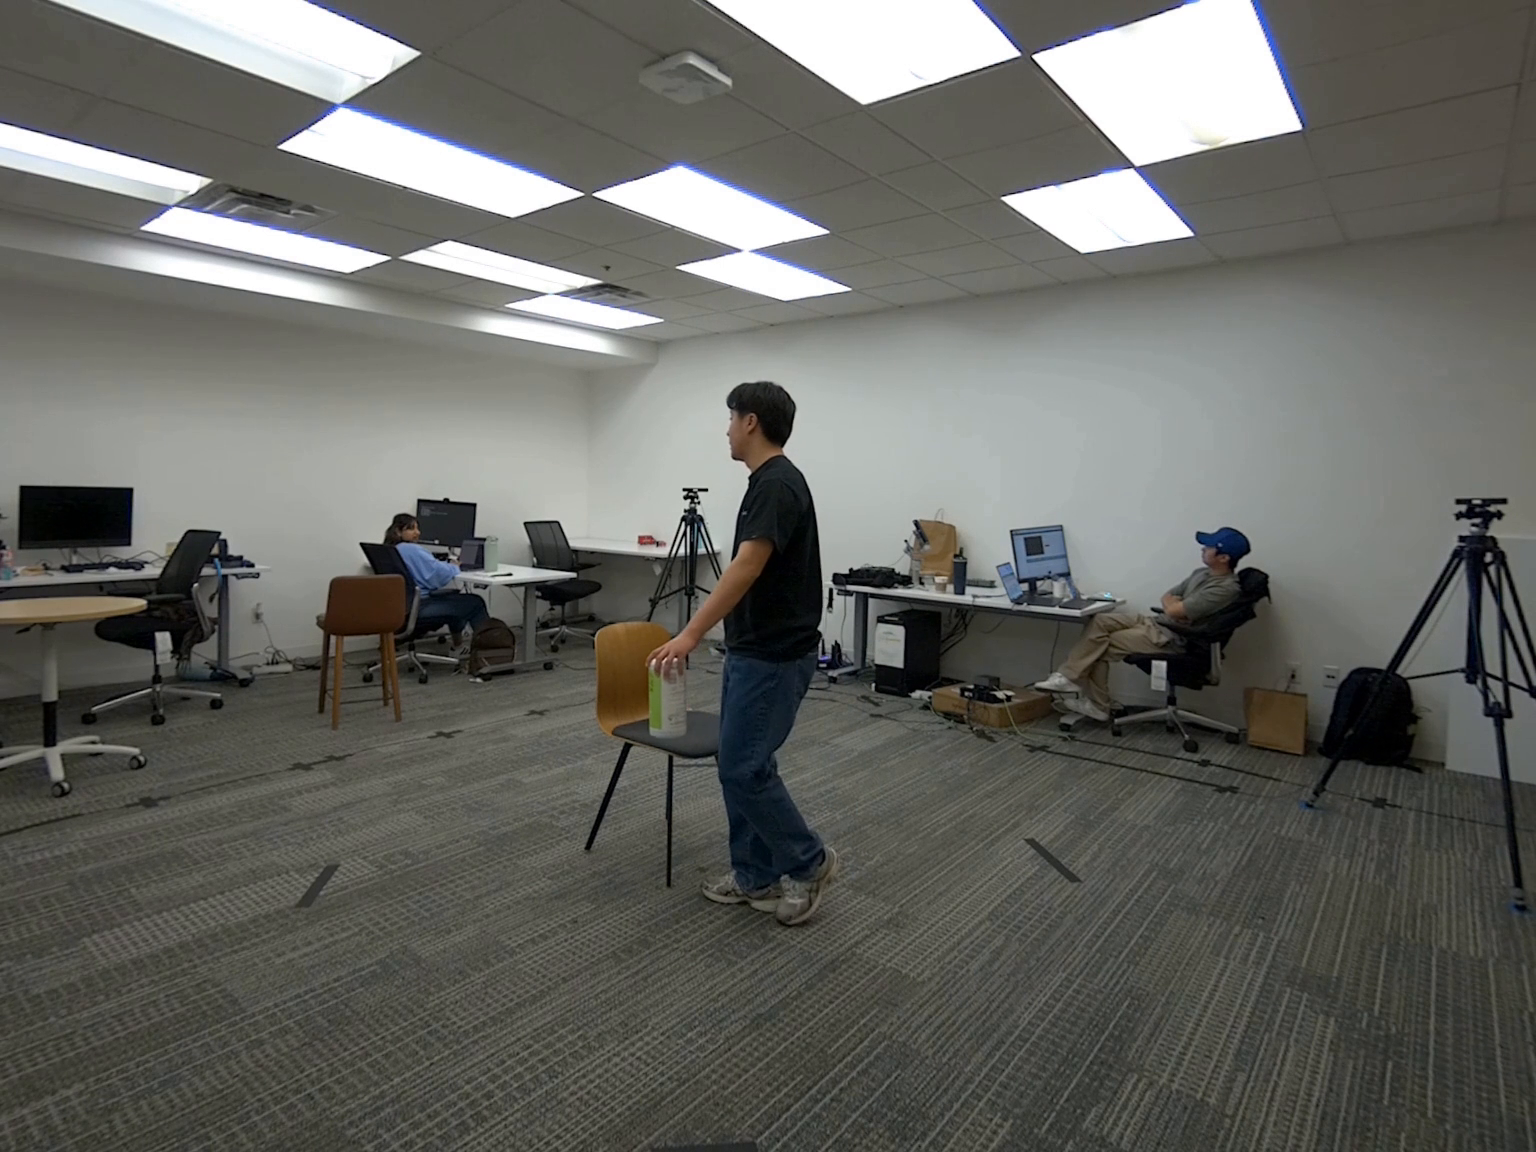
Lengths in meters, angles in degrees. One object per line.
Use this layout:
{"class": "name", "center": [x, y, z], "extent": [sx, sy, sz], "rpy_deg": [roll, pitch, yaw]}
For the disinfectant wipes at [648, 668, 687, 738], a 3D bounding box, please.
{"class": "disinfectant wipes", "center": [-0.300, 0.351, 2.465], "extent": [0.118, 0.217, 0.118], "rpy_deg": [-1, 2, -2]}
